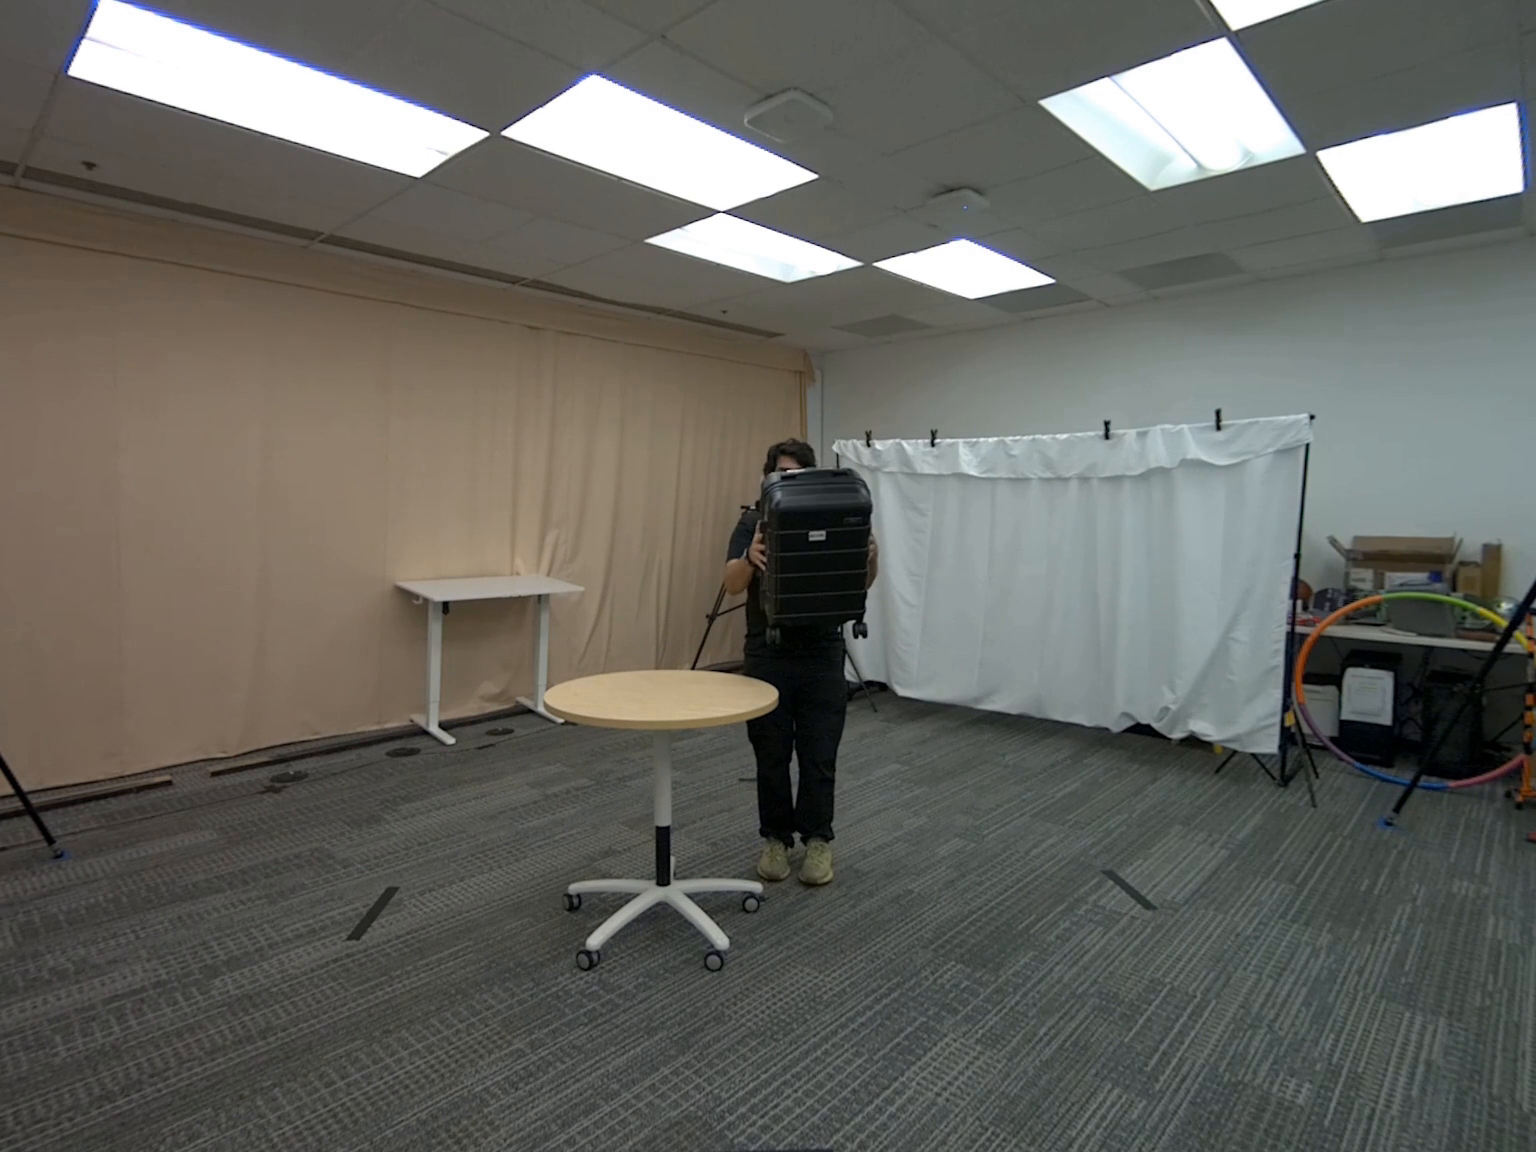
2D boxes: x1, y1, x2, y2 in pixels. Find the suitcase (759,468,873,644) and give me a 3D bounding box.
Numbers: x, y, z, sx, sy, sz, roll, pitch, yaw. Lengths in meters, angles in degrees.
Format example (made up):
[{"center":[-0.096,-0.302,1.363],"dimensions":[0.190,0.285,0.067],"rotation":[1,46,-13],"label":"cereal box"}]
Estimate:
[{"center":[0.157,-0.080,2.803],"dimensions":[0.374,0.540,0.253],"rotation":[-2,31,-4],"label":"suitcase"}]
